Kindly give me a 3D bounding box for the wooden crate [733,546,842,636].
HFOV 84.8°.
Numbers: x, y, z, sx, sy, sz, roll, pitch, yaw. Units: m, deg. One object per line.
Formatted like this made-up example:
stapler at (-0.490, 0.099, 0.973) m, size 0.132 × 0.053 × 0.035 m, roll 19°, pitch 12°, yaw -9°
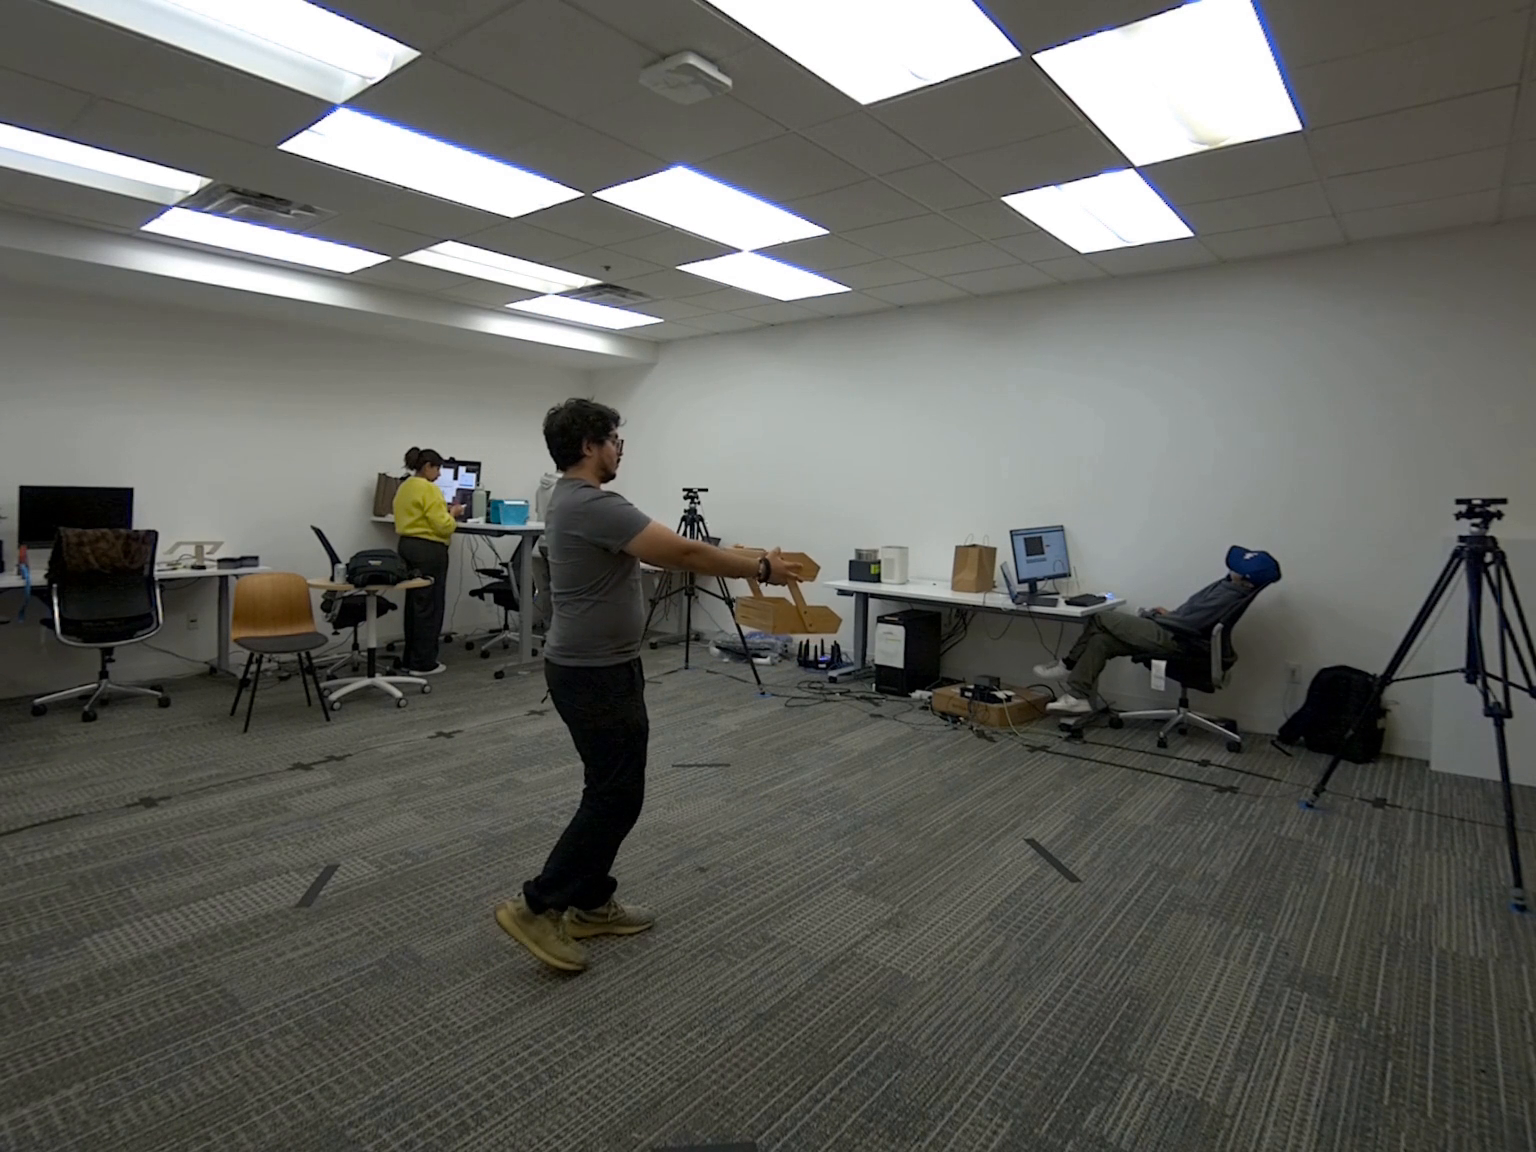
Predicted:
wooden crate at (0.037, 0.042, 2.838) m, size 0.294 × 0.273 × 0.333 m, roll 1°, pitch 3°, yaw -26°
